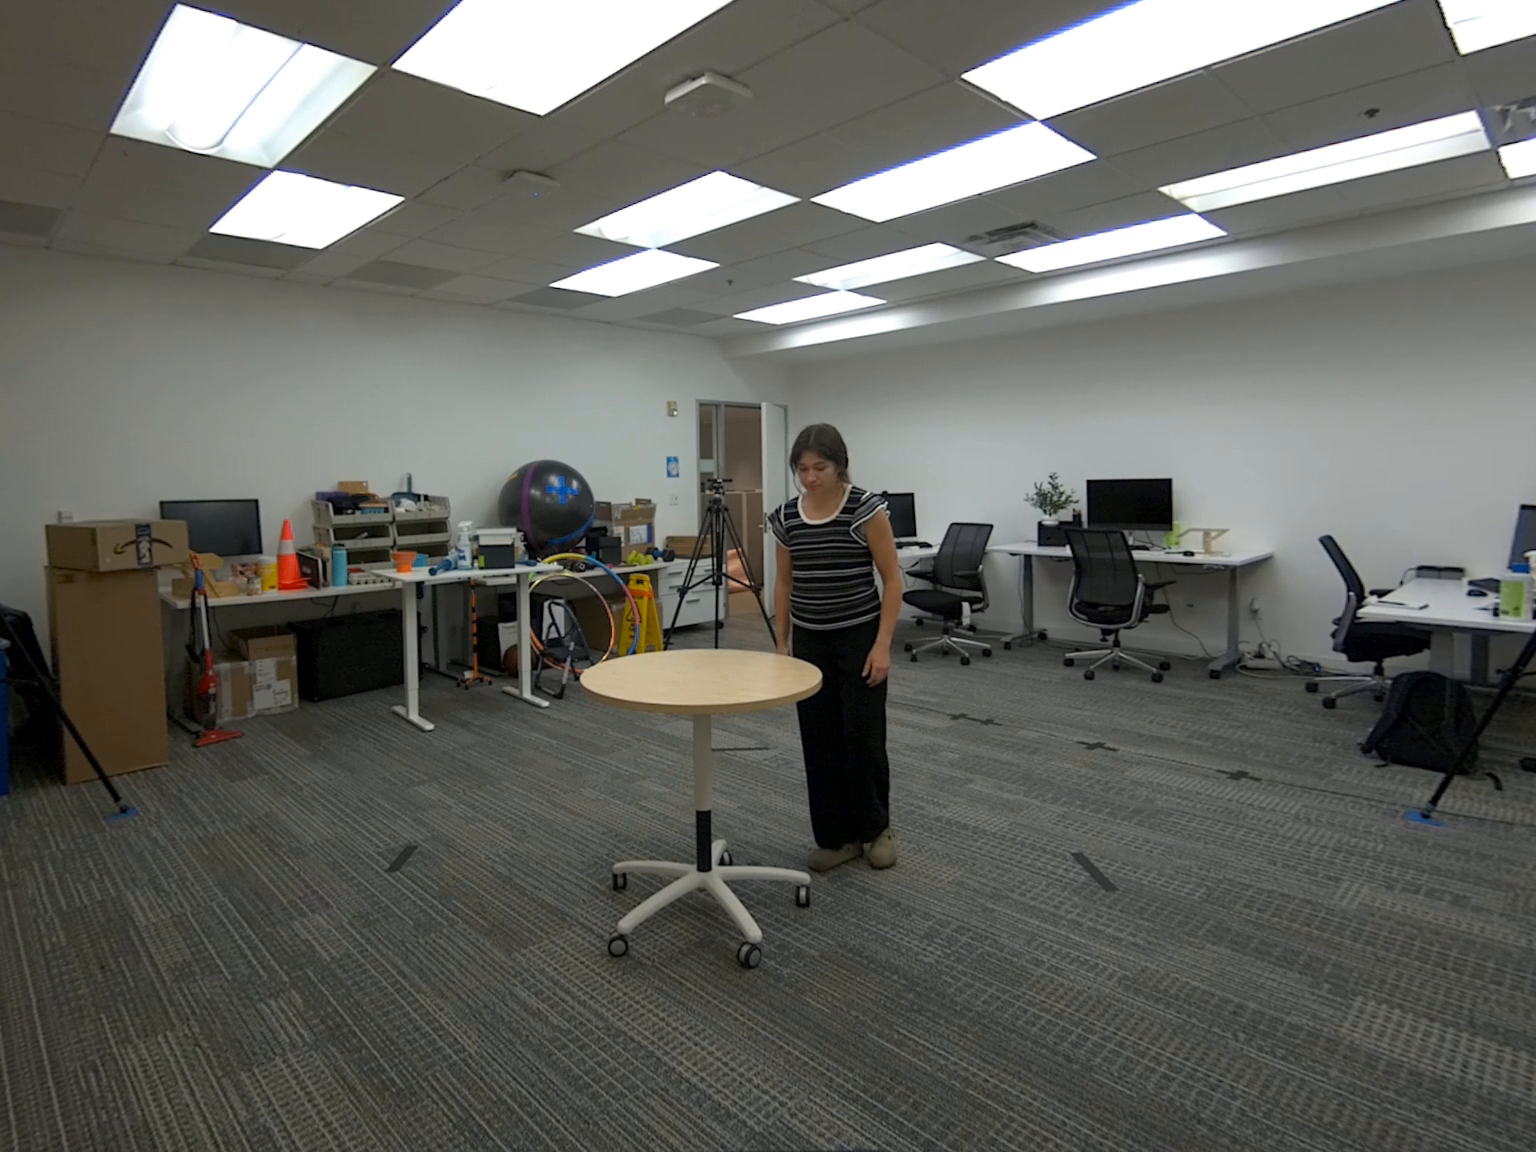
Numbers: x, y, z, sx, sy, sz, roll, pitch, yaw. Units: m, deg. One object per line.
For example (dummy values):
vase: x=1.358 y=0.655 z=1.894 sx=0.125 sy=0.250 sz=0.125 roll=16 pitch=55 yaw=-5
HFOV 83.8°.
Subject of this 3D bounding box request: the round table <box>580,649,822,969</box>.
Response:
round table: x=-0.213 y=0.703 z=2.740 sx=0.763 sy=0.791 sz=0.768 roll=-1 pitch=5 yaw=-2
